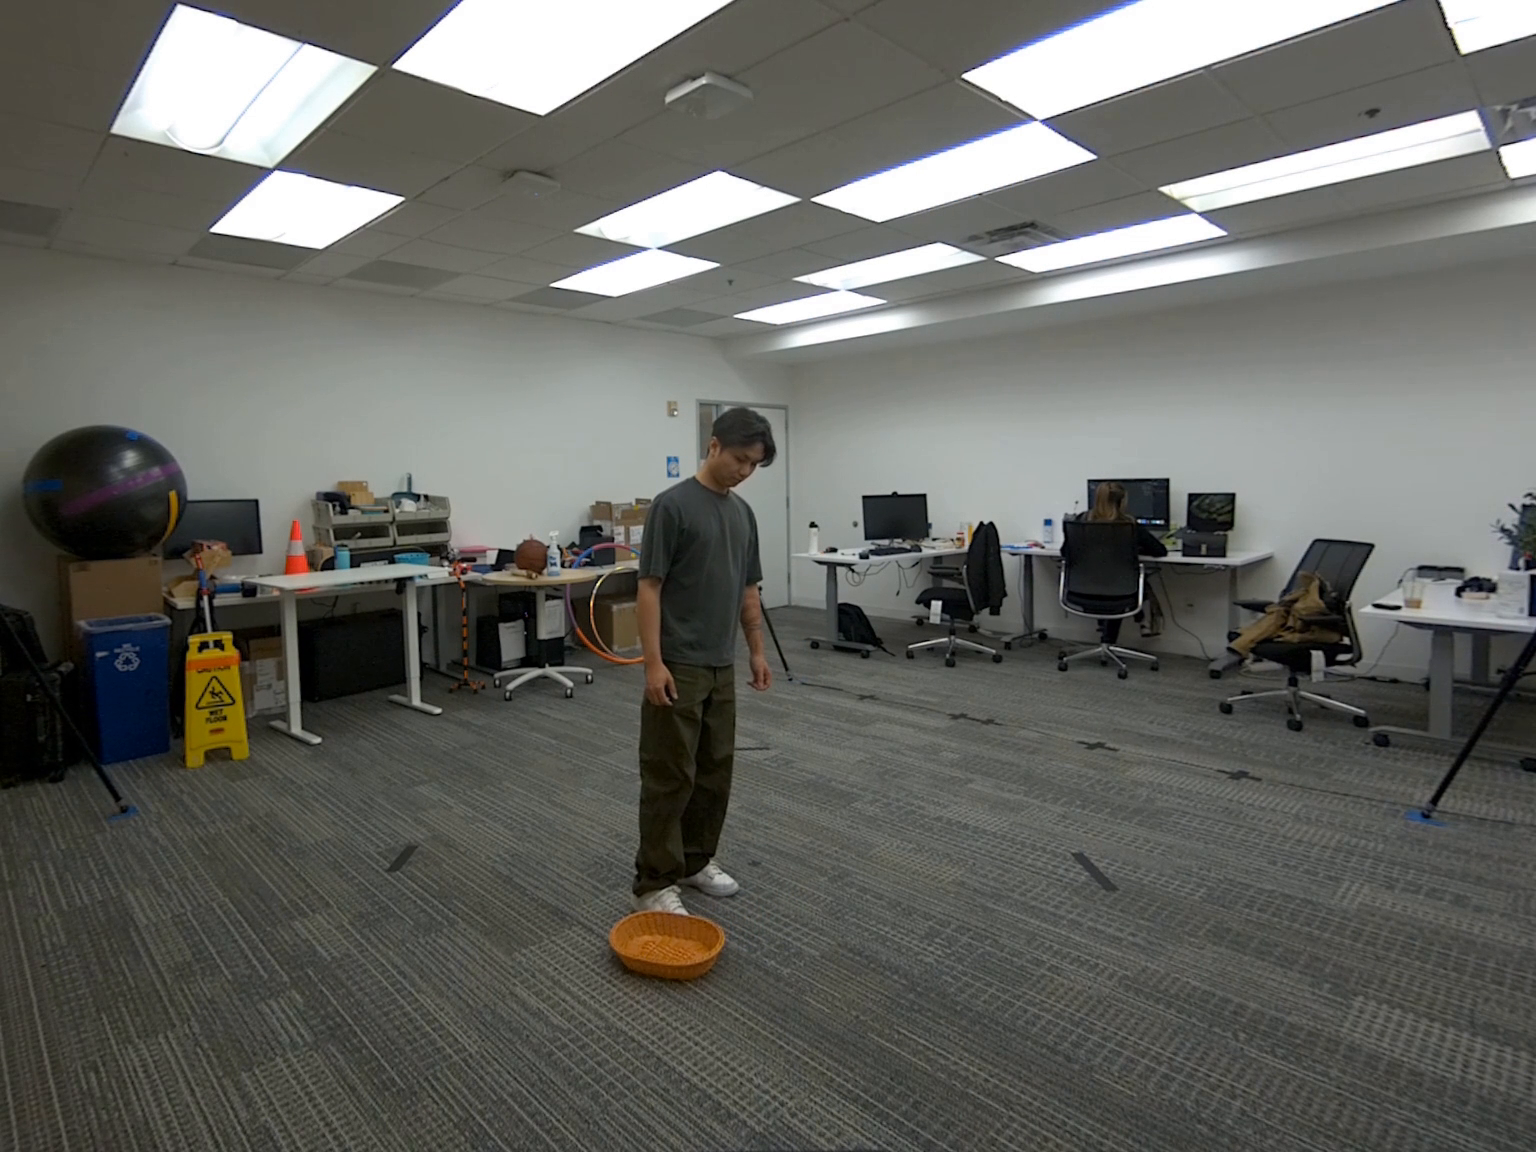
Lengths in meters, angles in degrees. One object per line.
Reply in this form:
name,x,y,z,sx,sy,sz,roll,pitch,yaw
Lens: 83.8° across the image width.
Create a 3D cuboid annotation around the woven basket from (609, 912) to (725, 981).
woven basket,-0.294,1.085,2.493,0.358,0.073,0.249,2,9,24
